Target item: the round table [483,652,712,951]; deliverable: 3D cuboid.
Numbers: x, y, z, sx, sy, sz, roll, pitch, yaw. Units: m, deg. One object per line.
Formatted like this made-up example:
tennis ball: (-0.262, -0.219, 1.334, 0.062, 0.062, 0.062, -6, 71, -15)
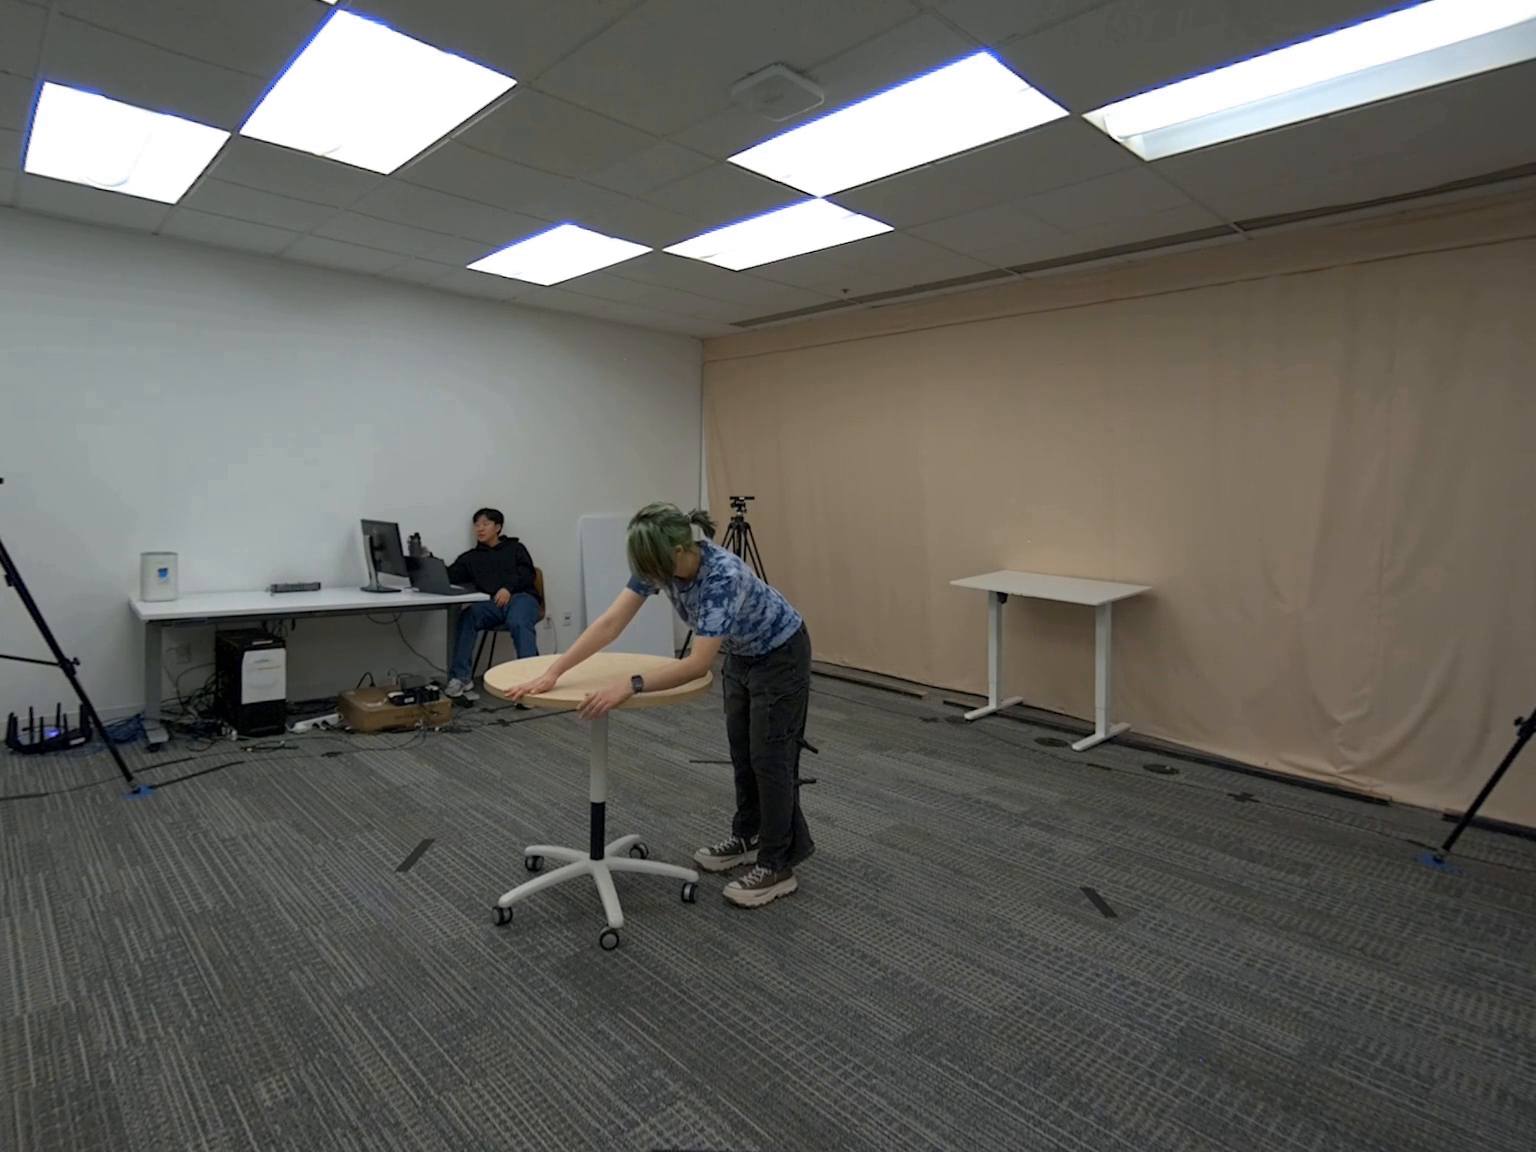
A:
round table: (-0.590, 0.729, 2.879, 0.763, 0.792, 0.767, 1, 4, -1)
